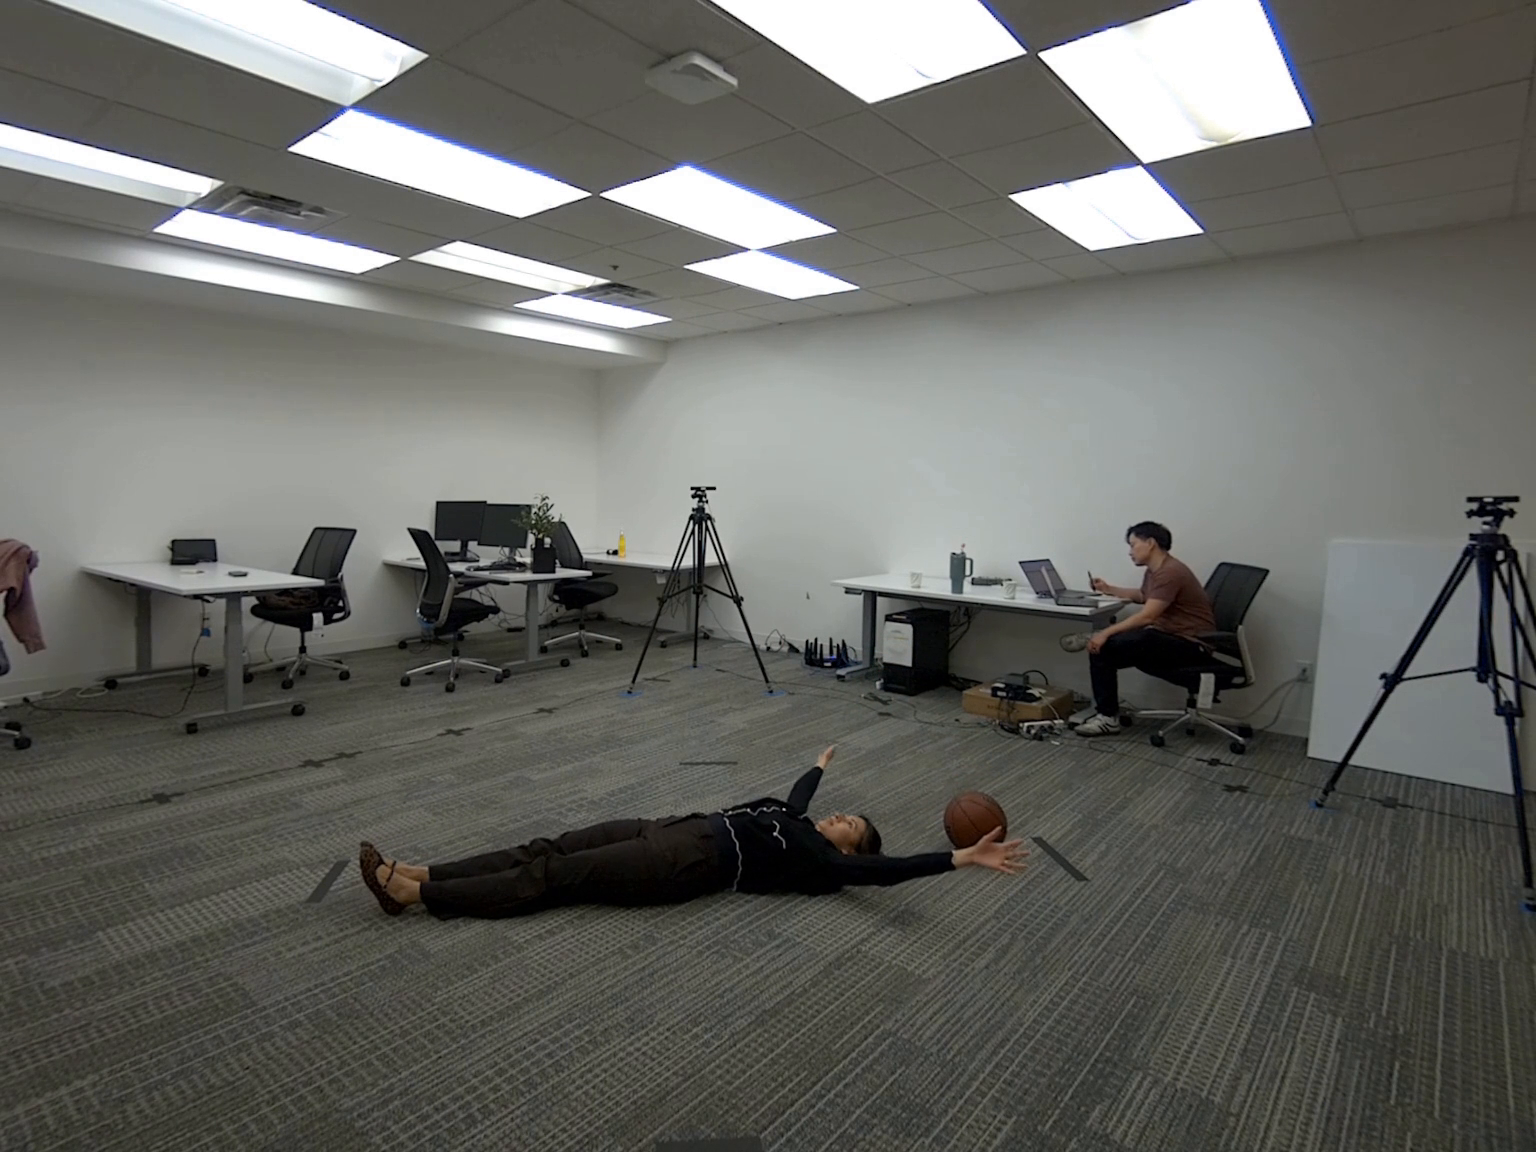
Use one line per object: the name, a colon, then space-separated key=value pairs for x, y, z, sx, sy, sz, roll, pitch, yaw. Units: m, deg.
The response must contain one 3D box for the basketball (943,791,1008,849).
basketball: x=0.792 y=0.947 z=3.293 sx=0.236 sy=0.235 sz=0.237 roll=1 pitch=4 yaw=-2
